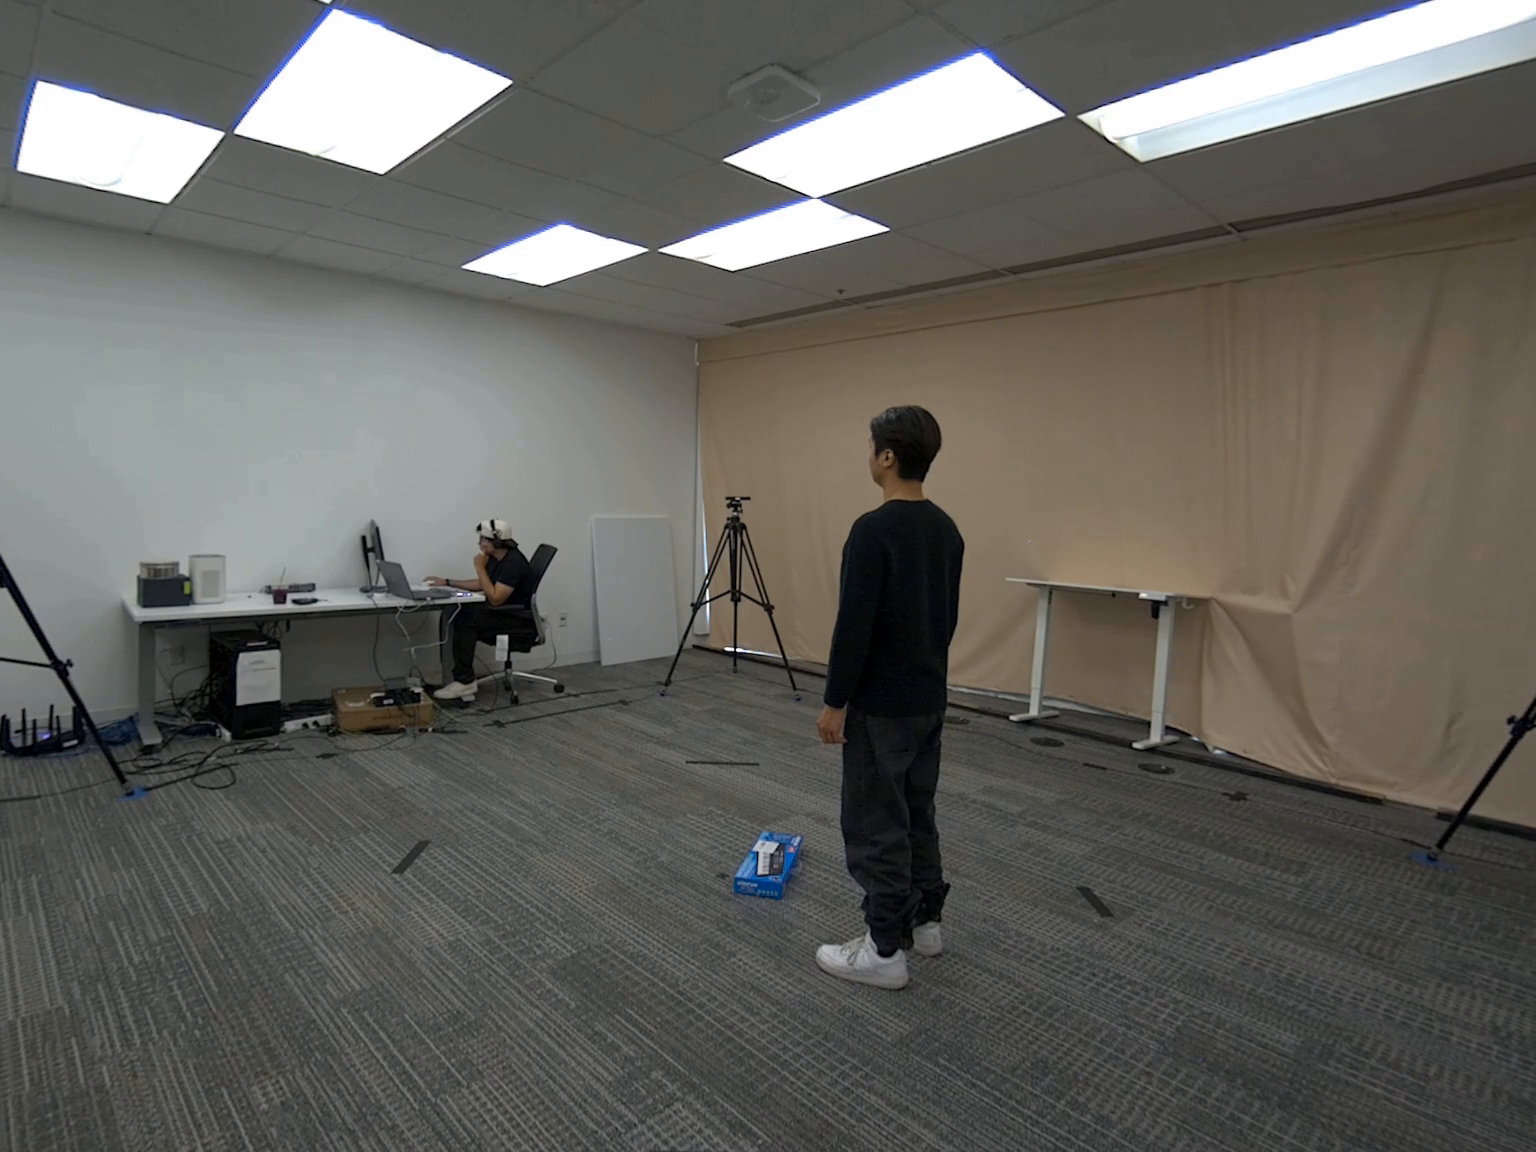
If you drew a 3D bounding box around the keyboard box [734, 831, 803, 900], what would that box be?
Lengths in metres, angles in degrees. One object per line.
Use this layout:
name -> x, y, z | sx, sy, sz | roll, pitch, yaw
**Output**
keyboard box -> 0.002, 1.075, 3.151 | 0.178, 0.059, 0.433 | 2, 5, 13
